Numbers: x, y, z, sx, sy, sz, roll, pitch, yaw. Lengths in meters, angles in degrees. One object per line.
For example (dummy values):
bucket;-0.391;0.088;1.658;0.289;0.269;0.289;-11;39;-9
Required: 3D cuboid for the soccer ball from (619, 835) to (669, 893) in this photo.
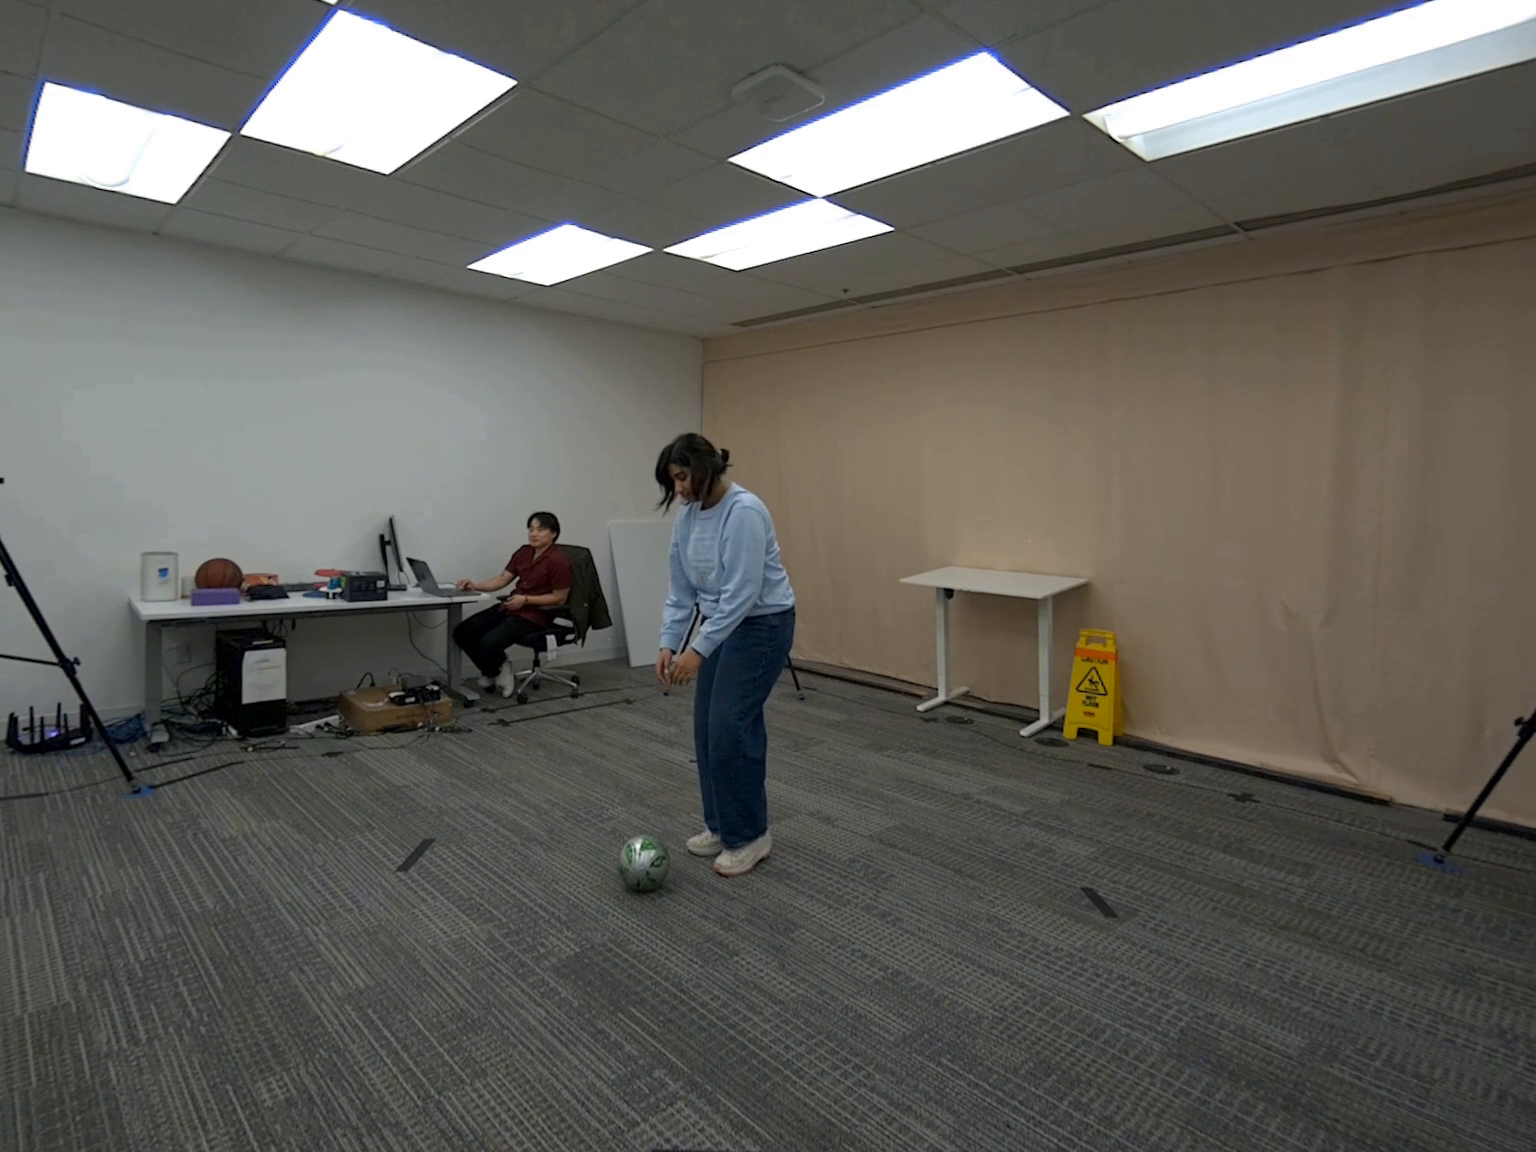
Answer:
soccer ball;-0.445;1.015;2.984;0.187;0.187;0.188;1;4;-1
